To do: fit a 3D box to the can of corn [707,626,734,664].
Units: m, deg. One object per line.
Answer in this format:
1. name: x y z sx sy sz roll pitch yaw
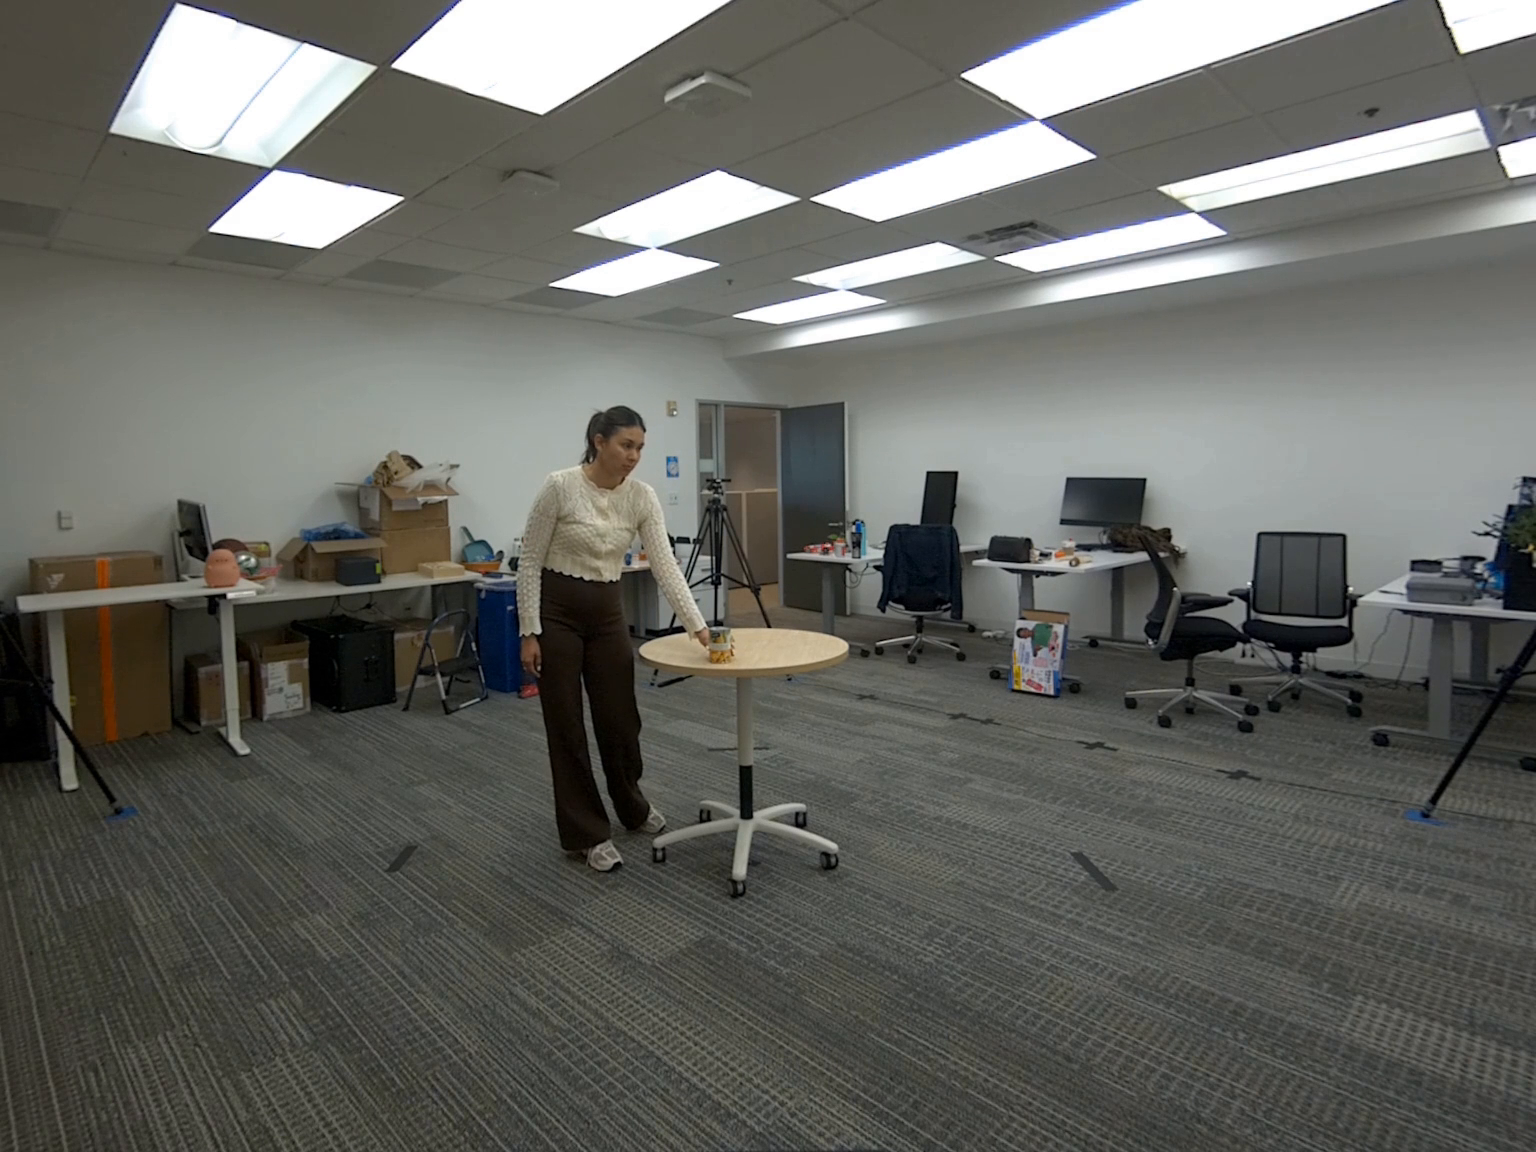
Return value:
1. can of corn: -0.158 0.228 2.870 0.074 0.111 0.074 -1 2 -2
